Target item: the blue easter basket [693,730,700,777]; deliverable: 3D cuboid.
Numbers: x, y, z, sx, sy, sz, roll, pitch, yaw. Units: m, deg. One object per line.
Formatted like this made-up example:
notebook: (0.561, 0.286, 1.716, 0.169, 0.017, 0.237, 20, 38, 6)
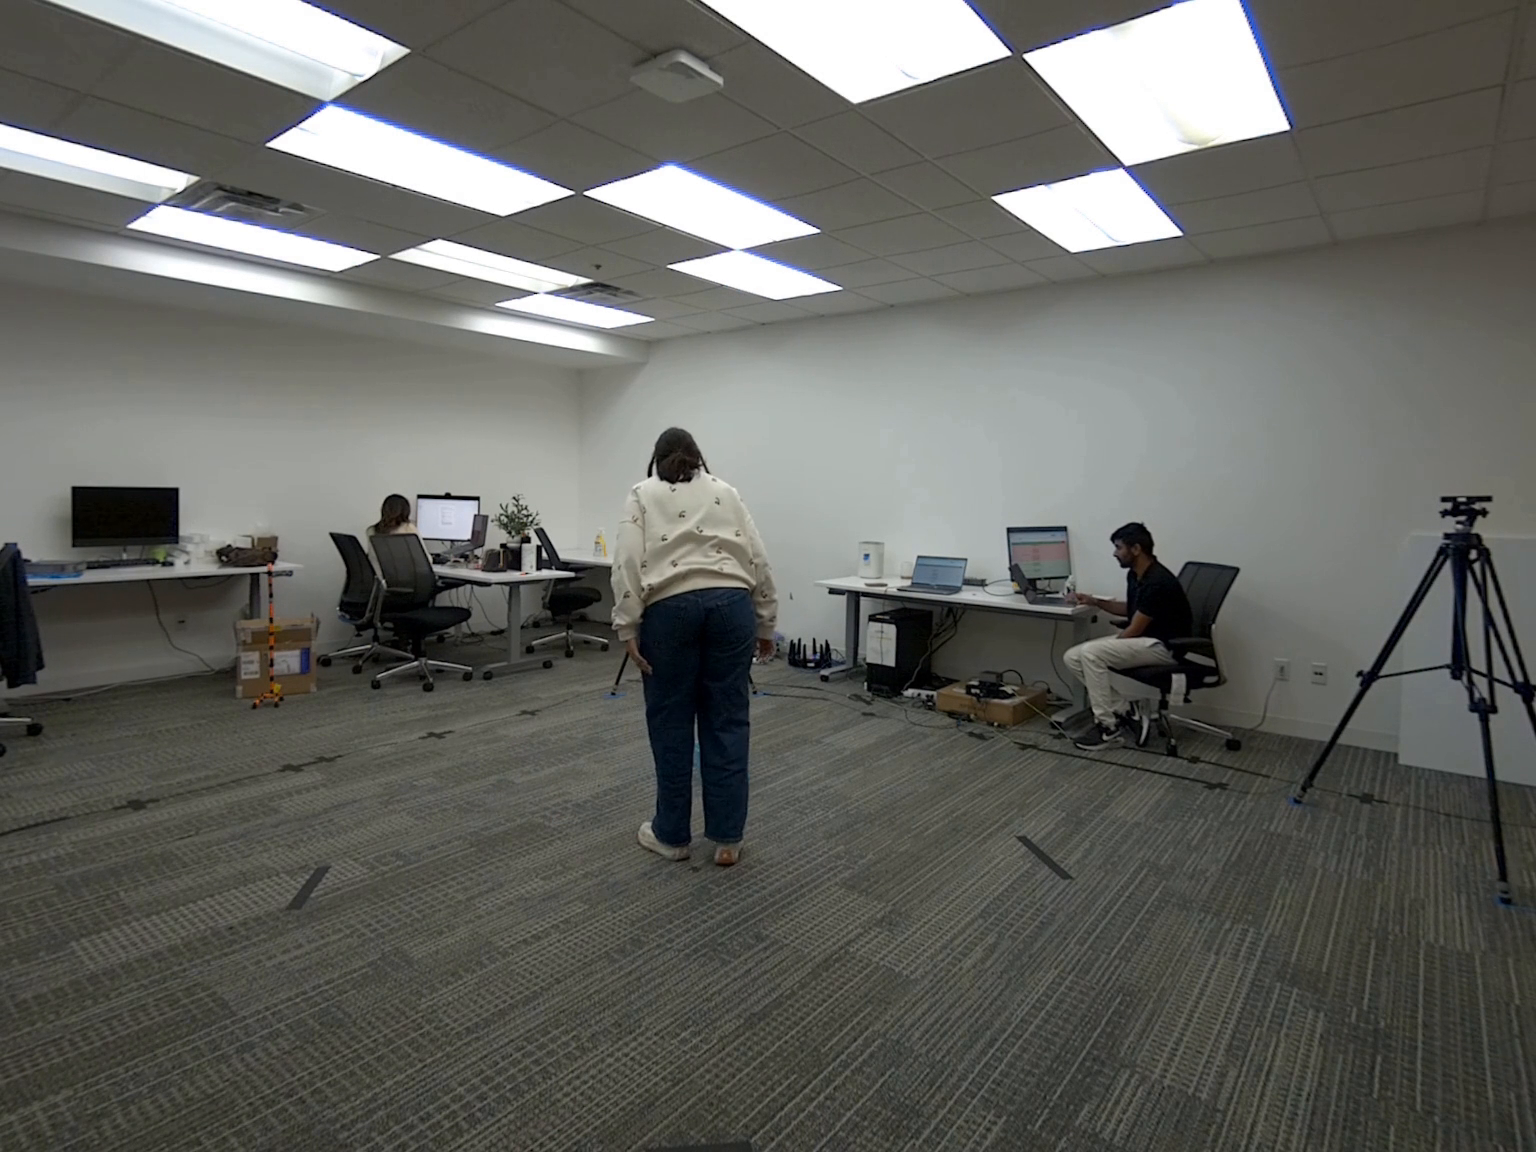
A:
blue easter basket: (-0.254, 0.886, 4.098, 0.243, 0.155, 0.245, 1, 4, -2)
